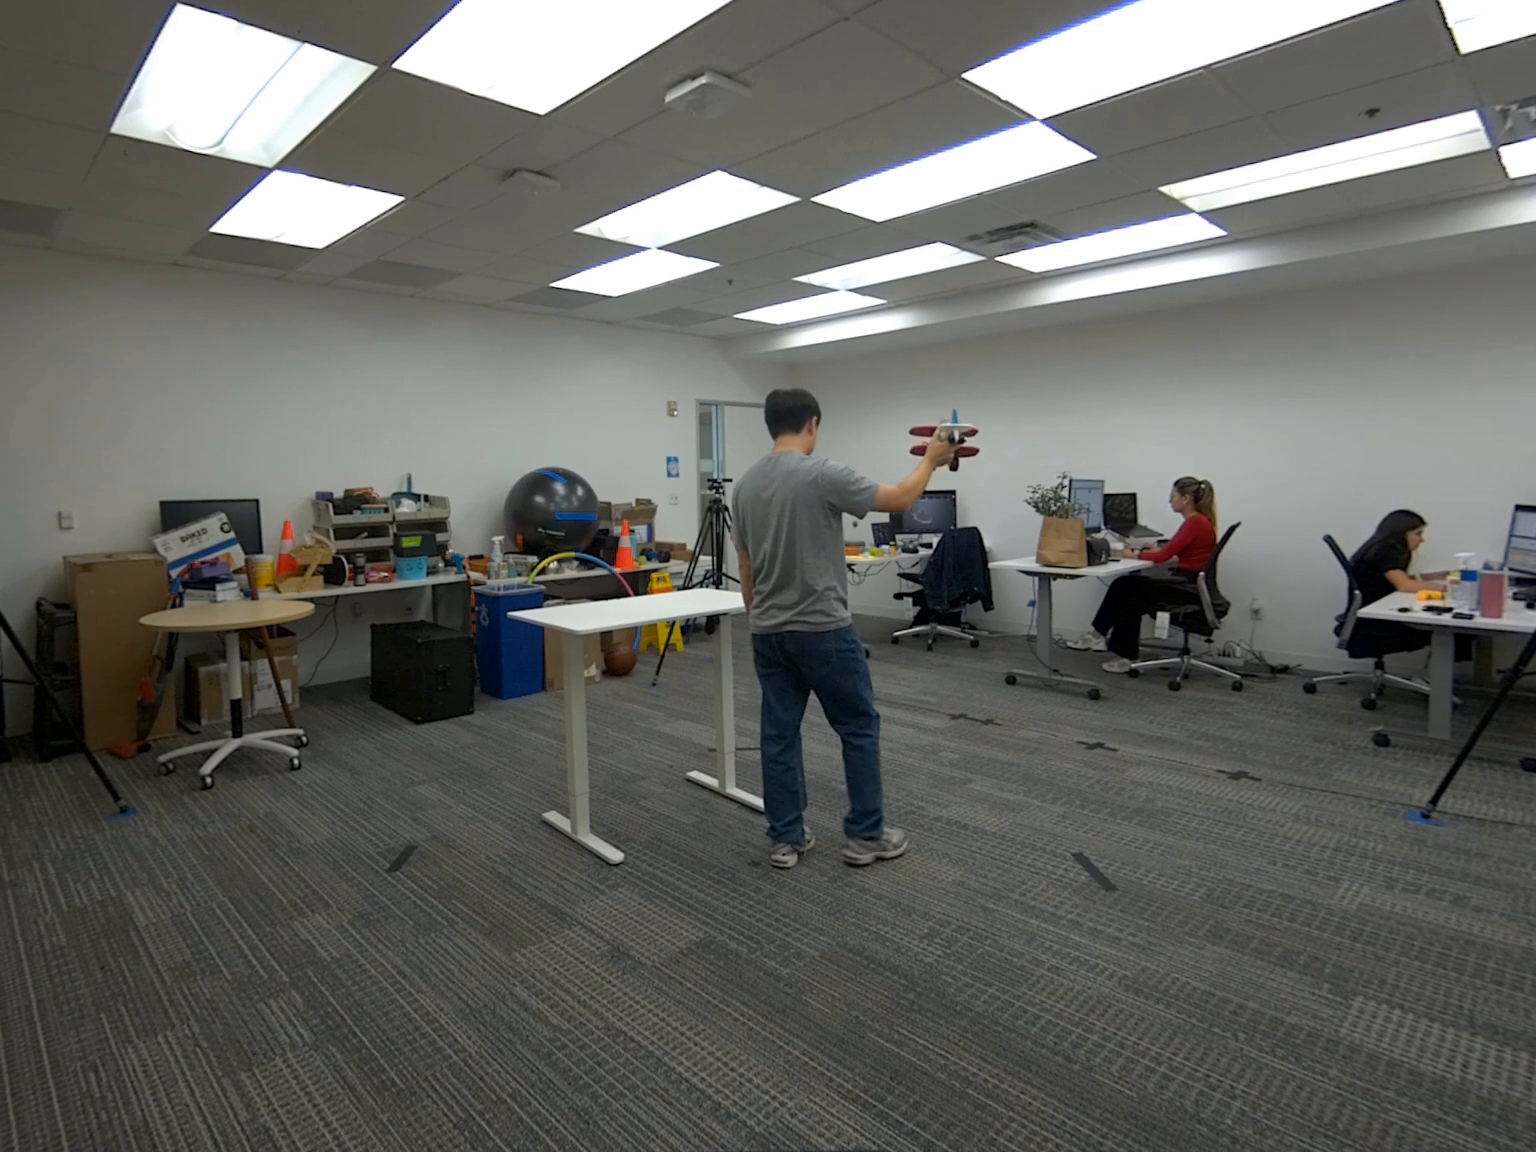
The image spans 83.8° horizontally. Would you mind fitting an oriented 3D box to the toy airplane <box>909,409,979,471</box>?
[{"bbox_3d":[0.687,-0.504,3.180,0.244,0.160,0.261,16,-30,-27],"label":"toy airplane"}]
